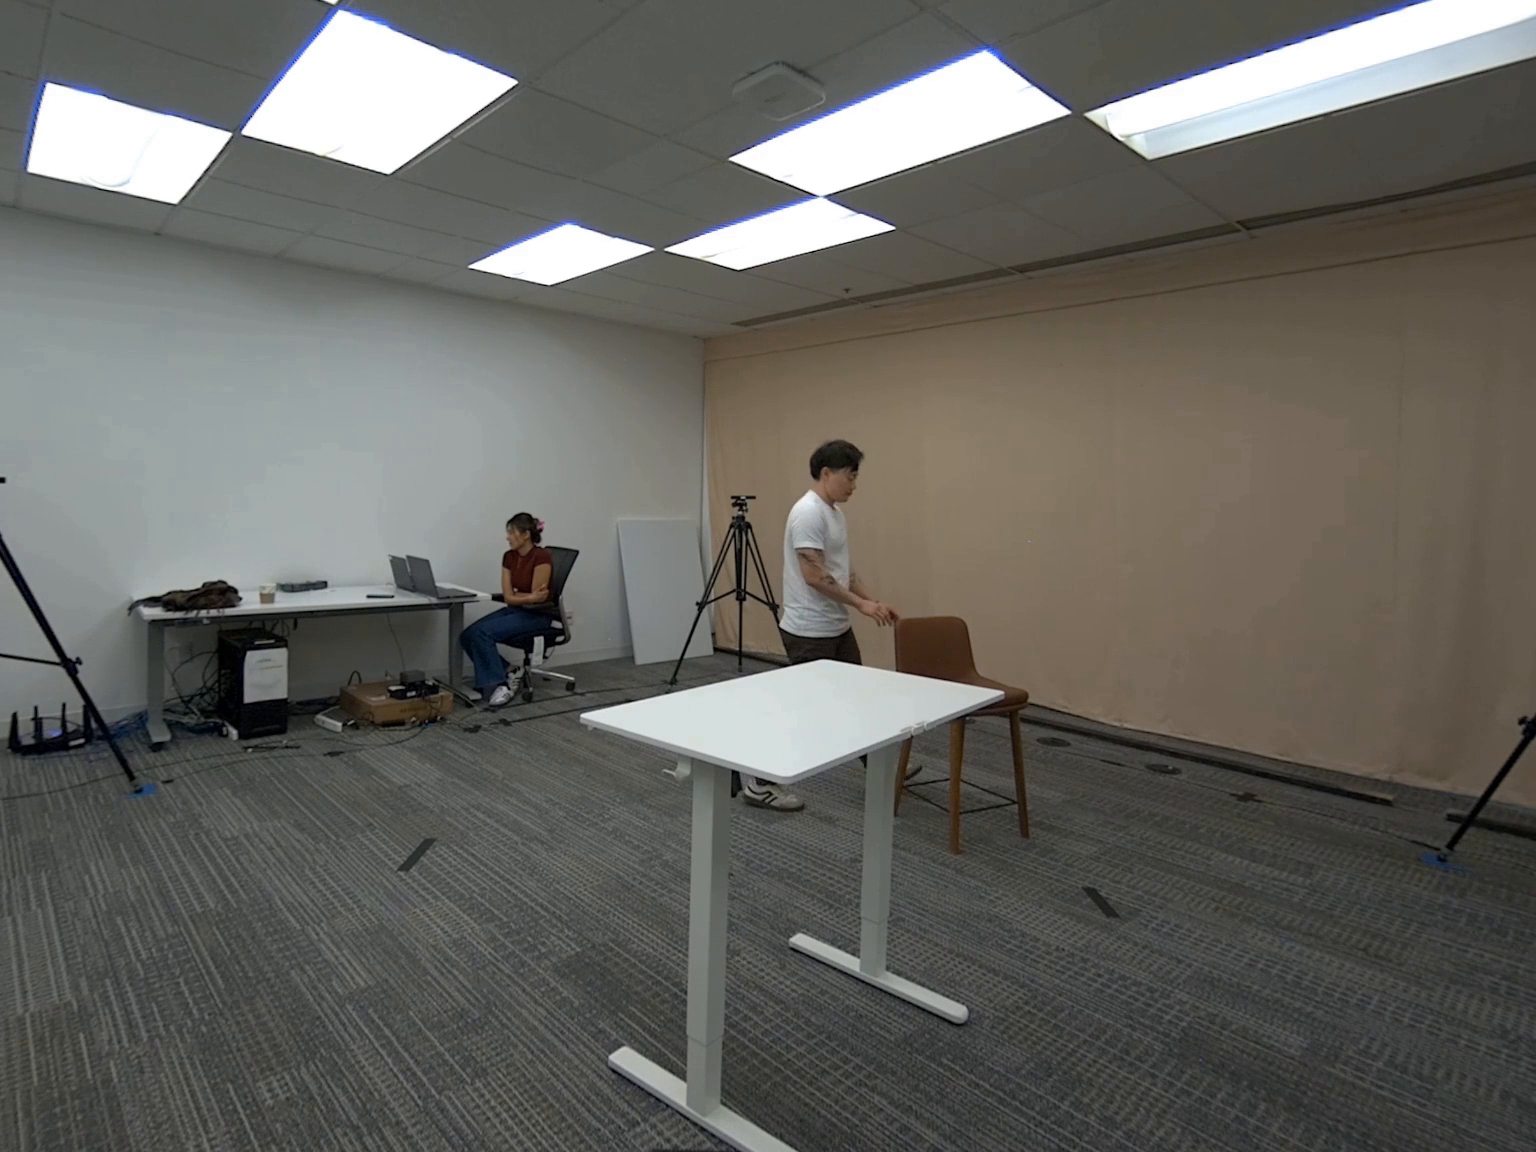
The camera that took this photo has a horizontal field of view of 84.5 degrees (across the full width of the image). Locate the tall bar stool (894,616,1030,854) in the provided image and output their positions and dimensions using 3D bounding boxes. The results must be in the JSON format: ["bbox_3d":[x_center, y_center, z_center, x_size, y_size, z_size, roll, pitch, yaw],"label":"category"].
[{"bbox_3d":[0.807,0.642,3.611,0.448,0.889,0.477,-1,1,-27],"label":"tall bar stool"}]
